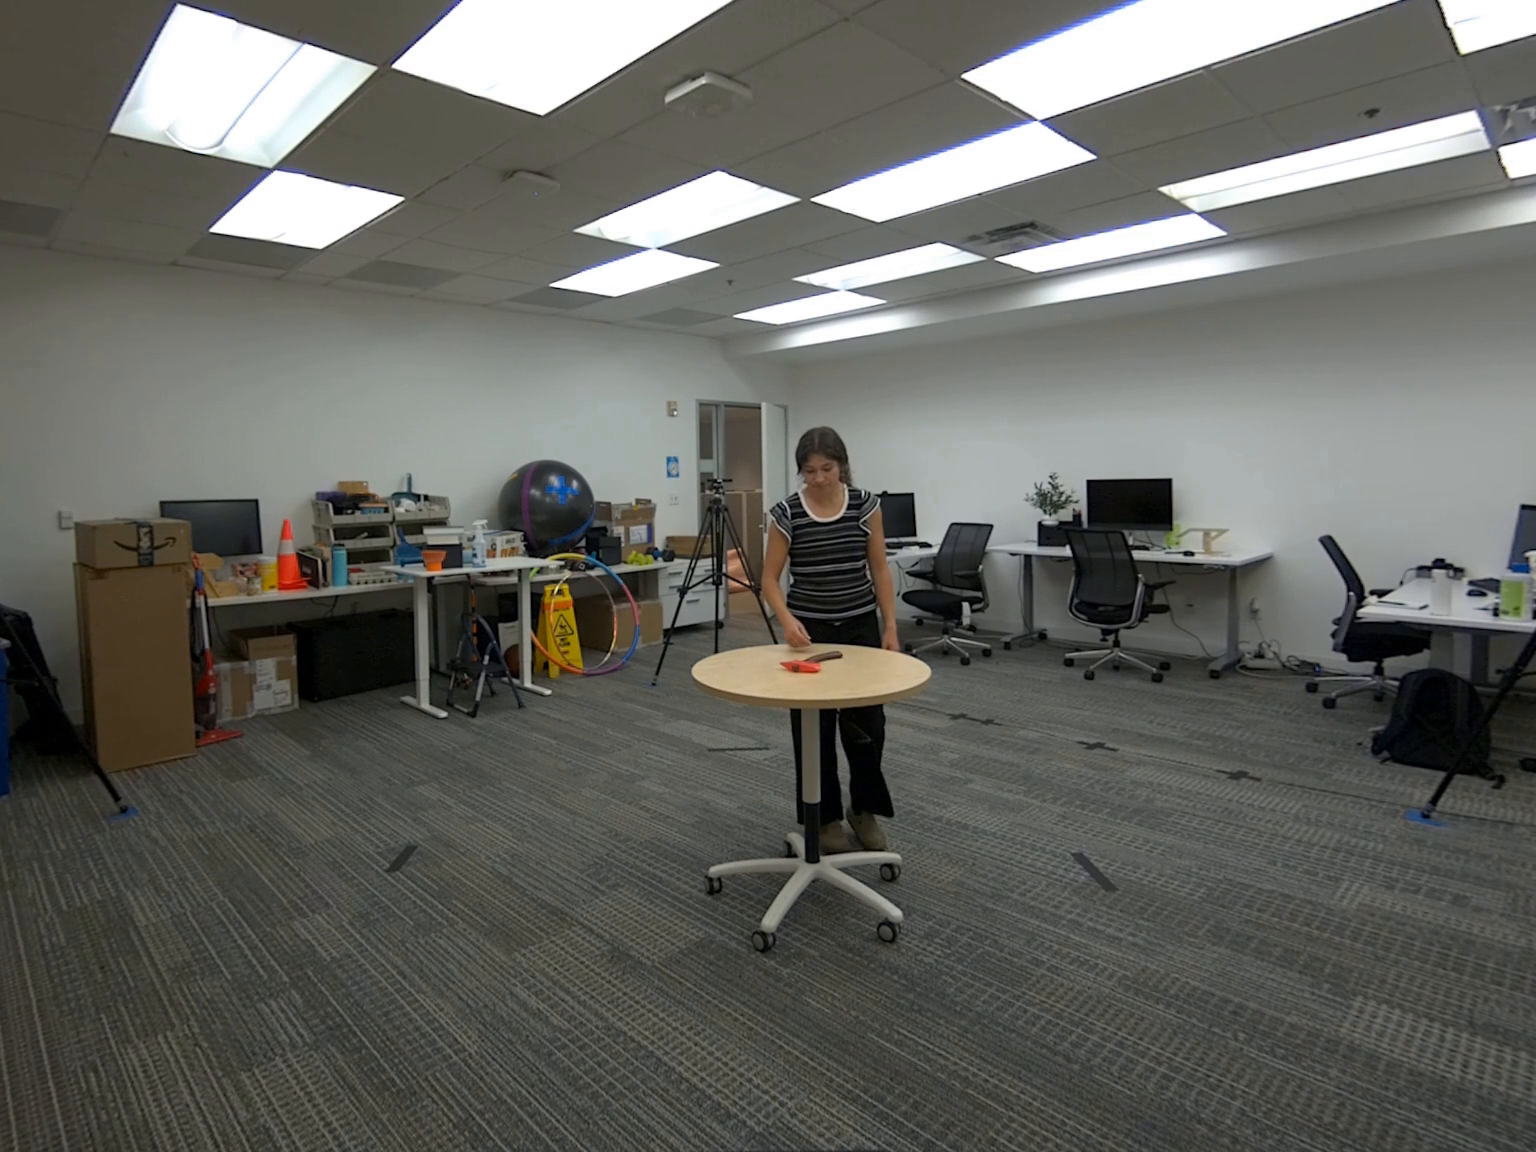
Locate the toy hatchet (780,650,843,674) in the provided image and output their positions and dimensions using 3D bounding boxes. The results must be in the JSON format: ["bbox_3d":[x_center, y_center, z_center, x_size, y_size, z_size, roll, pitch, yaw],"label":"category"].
[{"bbox_3d":[0.181,0.283,2.792,0.263,0.029,0.135,-6,10,-42],"label":"toy hatchet"}]
